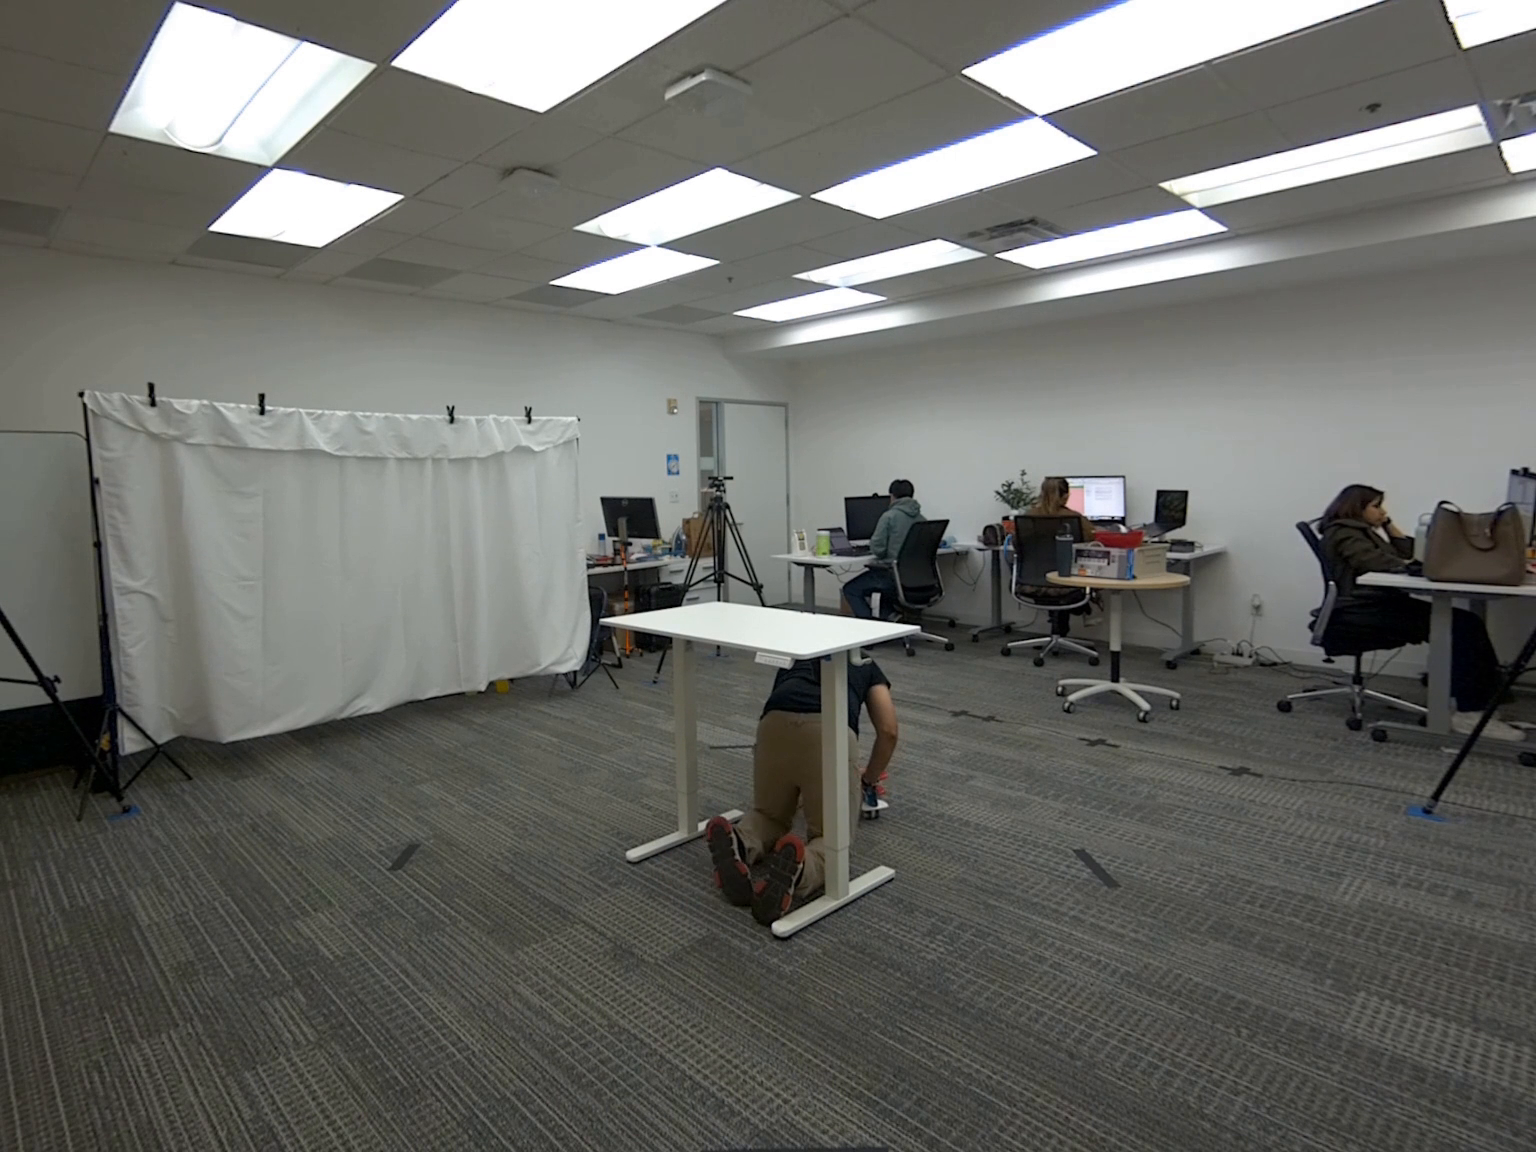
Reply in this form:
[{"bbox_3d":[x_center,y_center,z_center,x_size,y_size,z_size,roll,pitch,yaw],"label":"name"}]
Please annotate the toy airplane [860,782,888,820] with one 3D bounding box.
[{"bbox_3d":[0.409,0.904,3.568,0.267,0.156,0.244,4,6,44],"label":"toy airplane"}]
